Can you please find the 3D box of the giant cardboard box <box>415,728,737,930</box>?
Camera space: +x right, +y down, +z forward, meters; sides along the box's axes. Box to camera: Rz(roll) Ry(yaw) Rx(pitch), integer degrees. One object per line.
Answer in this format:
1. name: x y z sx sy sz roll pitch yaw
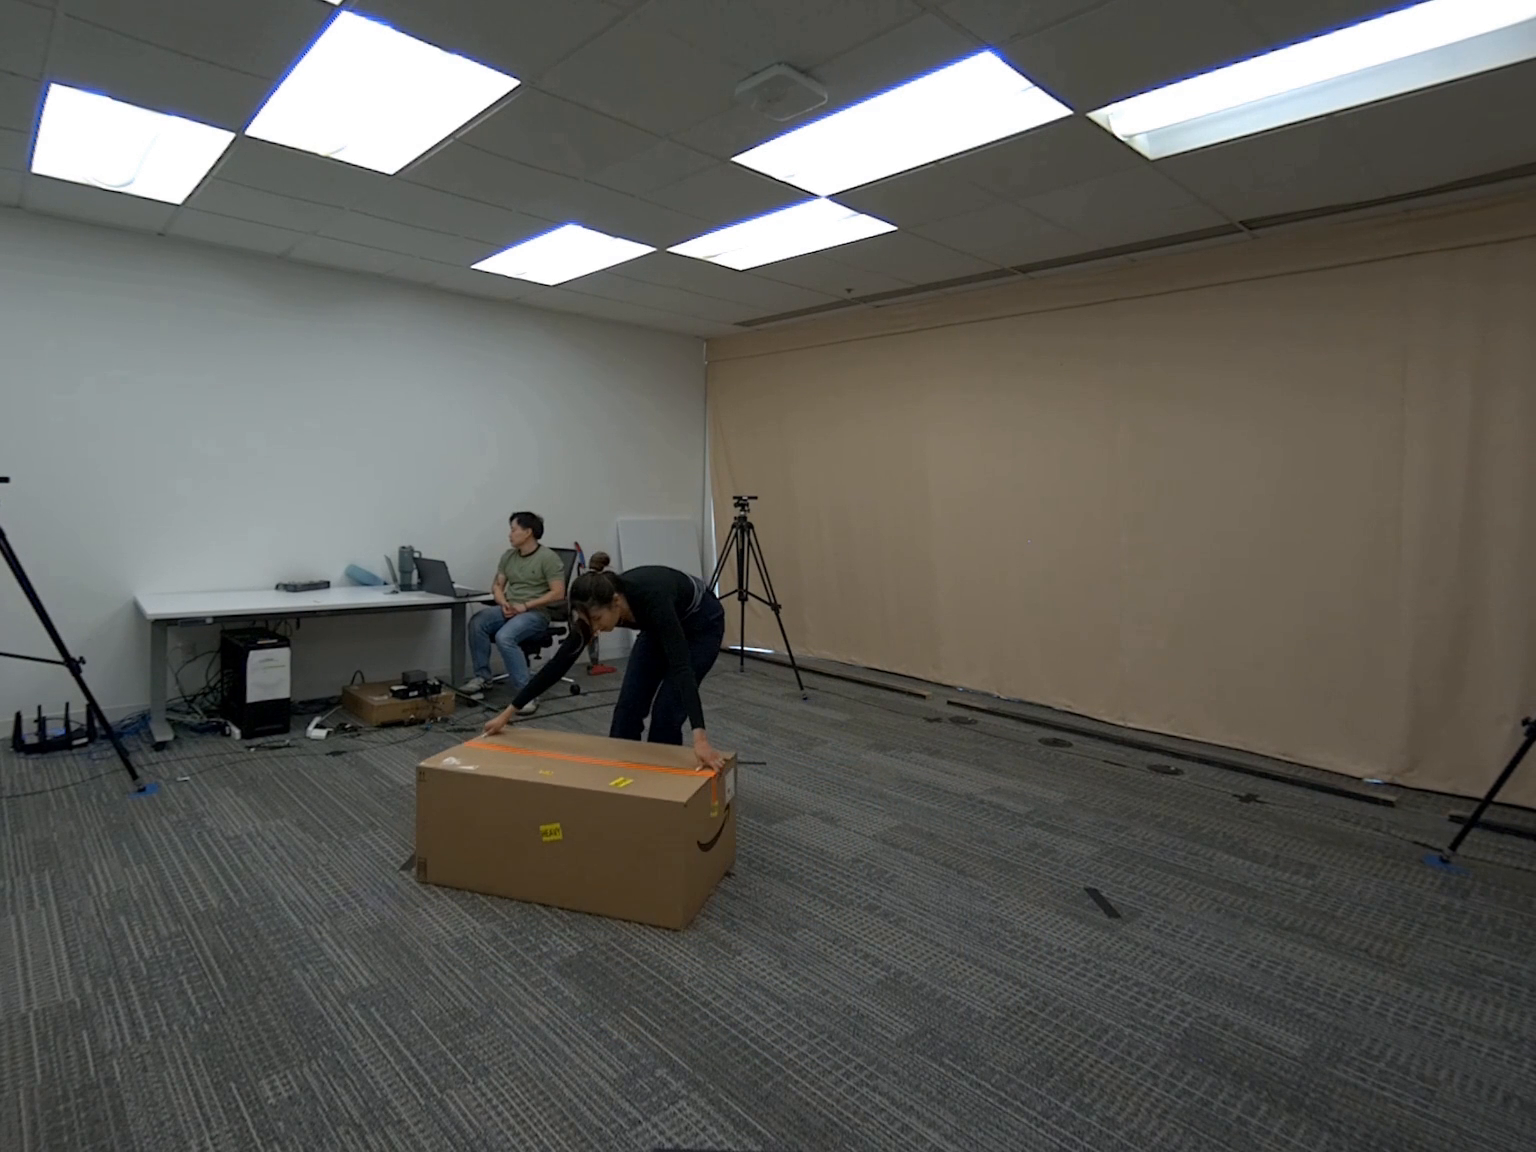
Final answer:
1. giant cardboard box: -0.685 0.873 3.095 1.040 0.425 0.571 3 4 17
